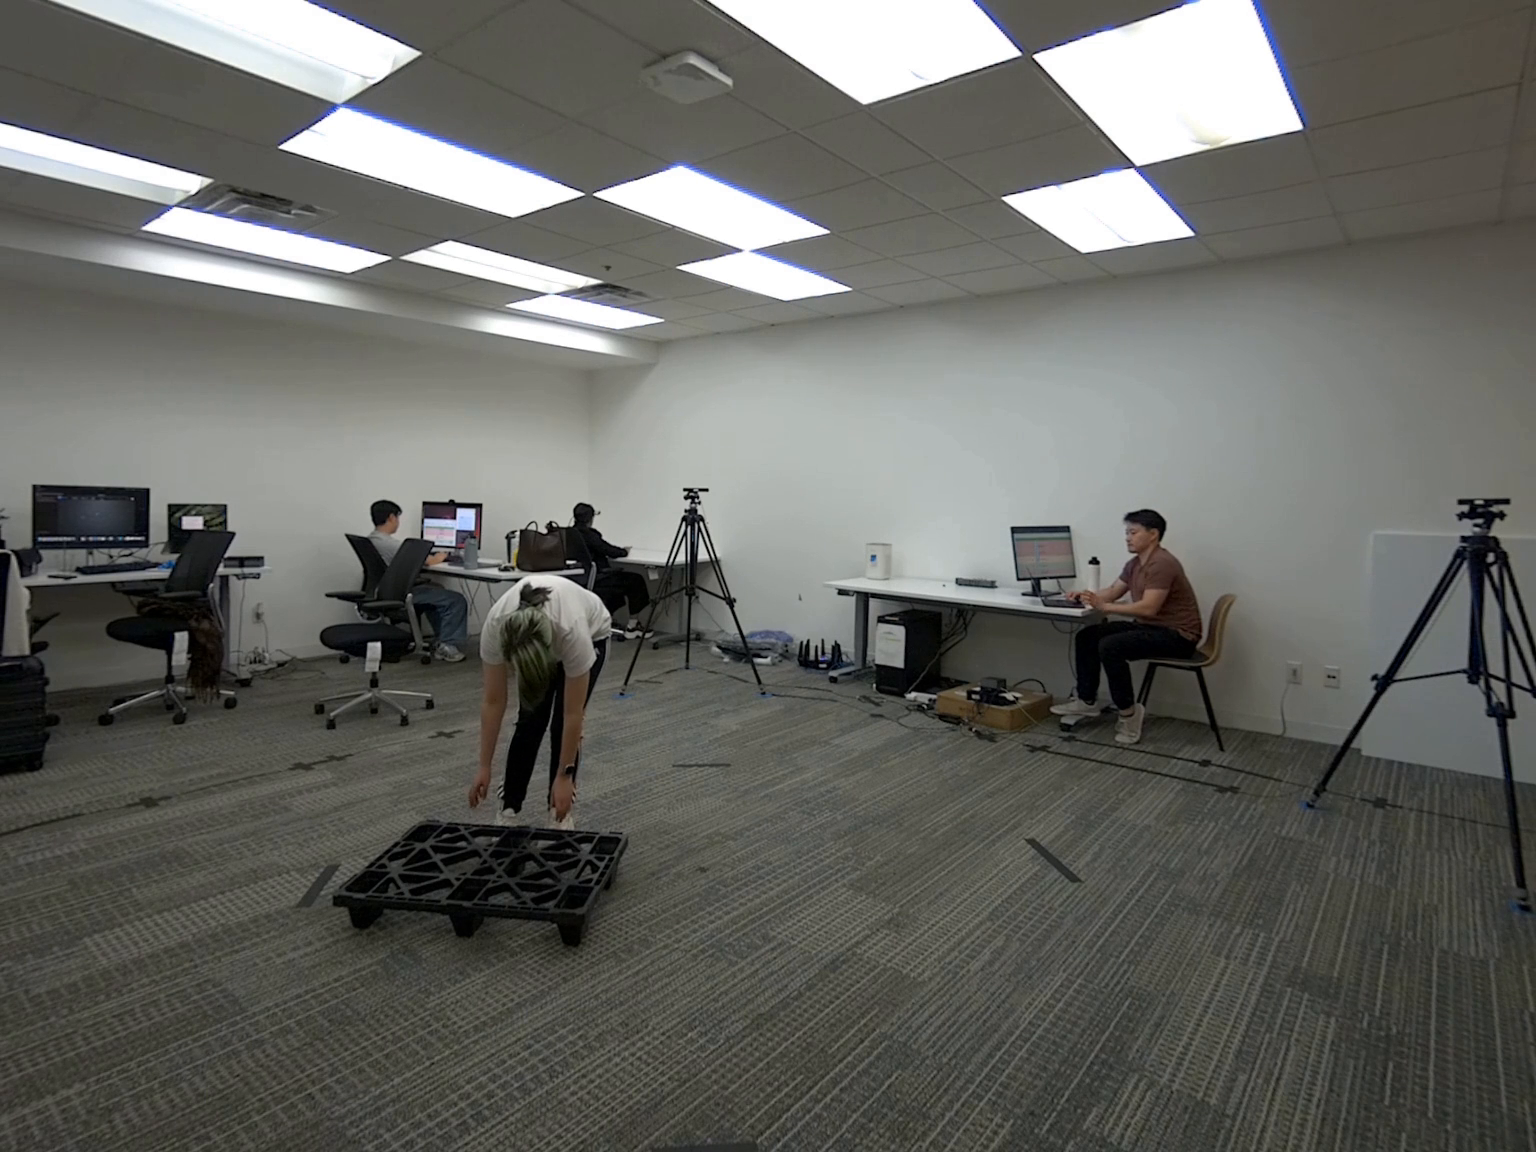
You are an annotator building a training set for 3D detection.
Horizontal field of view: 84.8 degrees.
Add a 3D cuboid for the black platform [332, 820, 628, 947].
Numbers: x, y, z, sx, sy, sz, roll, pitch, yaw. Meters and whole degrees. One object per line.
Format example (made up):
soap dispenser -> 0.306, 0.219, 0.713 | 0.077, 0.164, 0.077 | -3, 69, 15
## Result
black platform -> -0.926, 1.014, 2.841 | 0.812, 0.142, 0.604 | 1, 7, 6
